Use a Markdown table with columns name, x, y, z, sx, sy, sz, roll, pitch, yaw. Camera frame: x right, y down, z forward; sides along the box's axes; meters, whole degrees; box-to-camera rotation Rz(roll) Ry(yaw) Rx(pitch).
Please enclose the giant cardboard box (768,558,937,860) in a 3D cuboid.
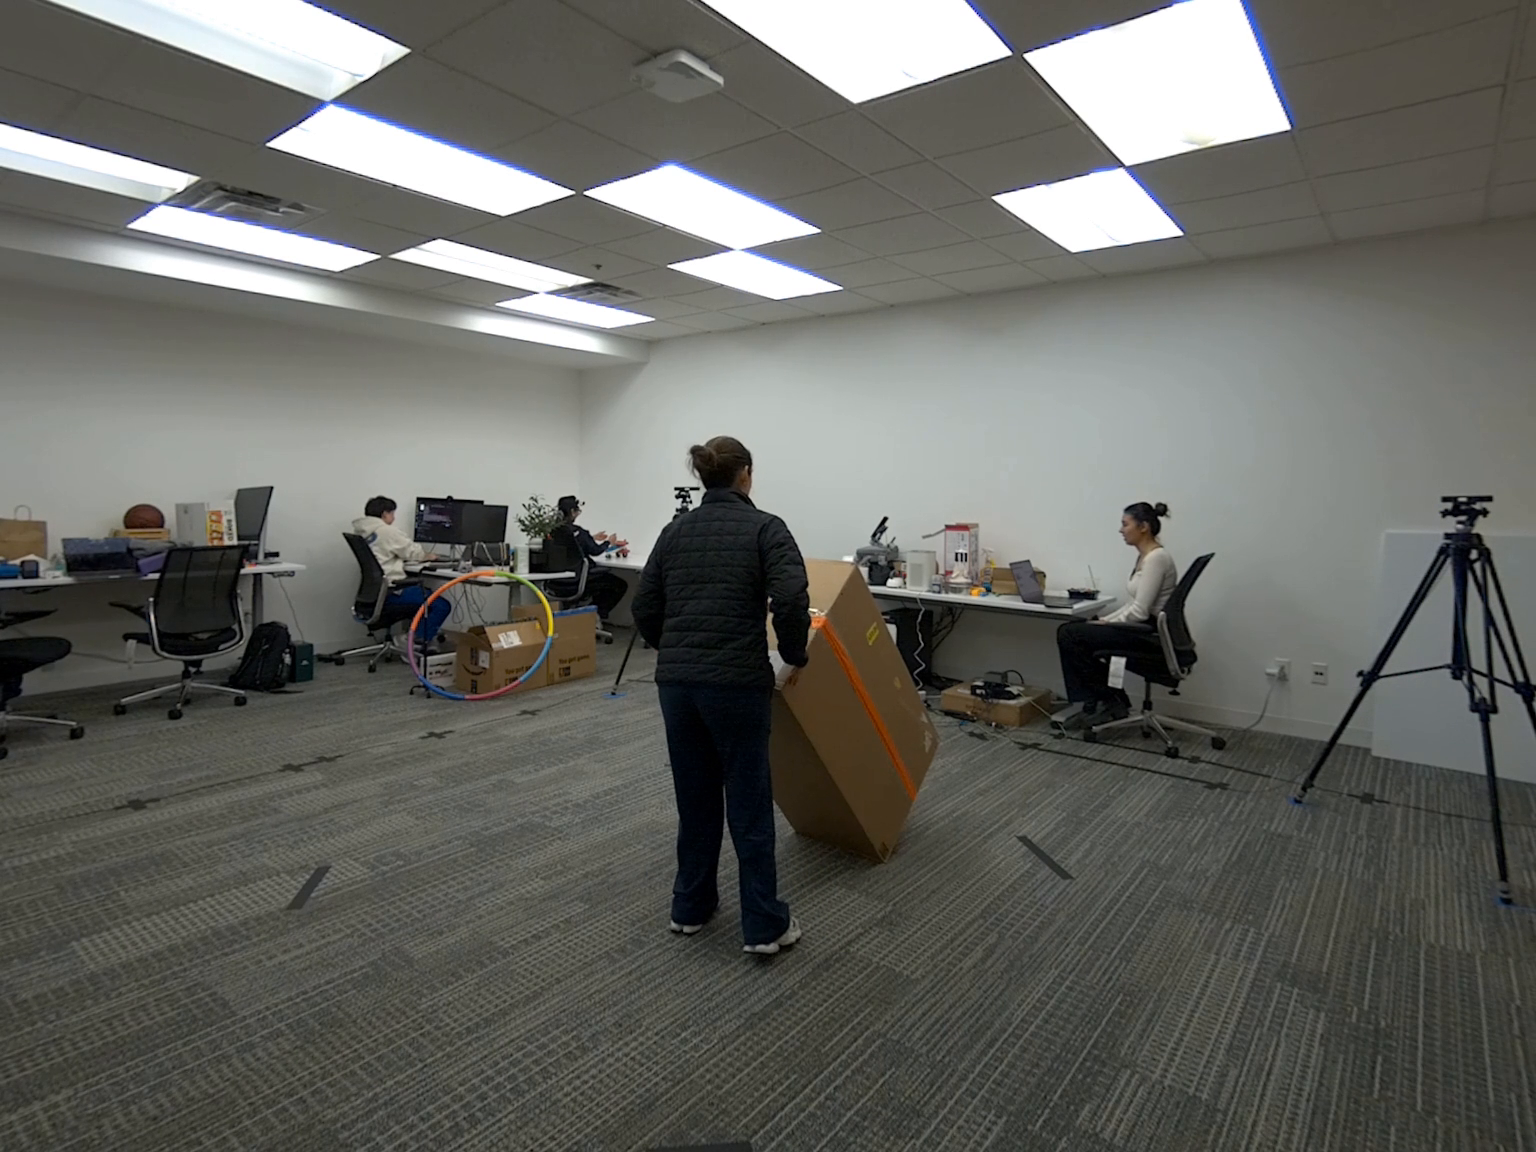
| name | x | y | z | sx | sy | sz | roll | pitch | yaw |
| --- | --- | --- | --- | --- | --- | --- | --- | --- | --- |
| giant cardboard box | 0.232 | 0.492 | 3.215 | 0.462 | 0.990 | 0.586 | 5 | 46 | 41 |
